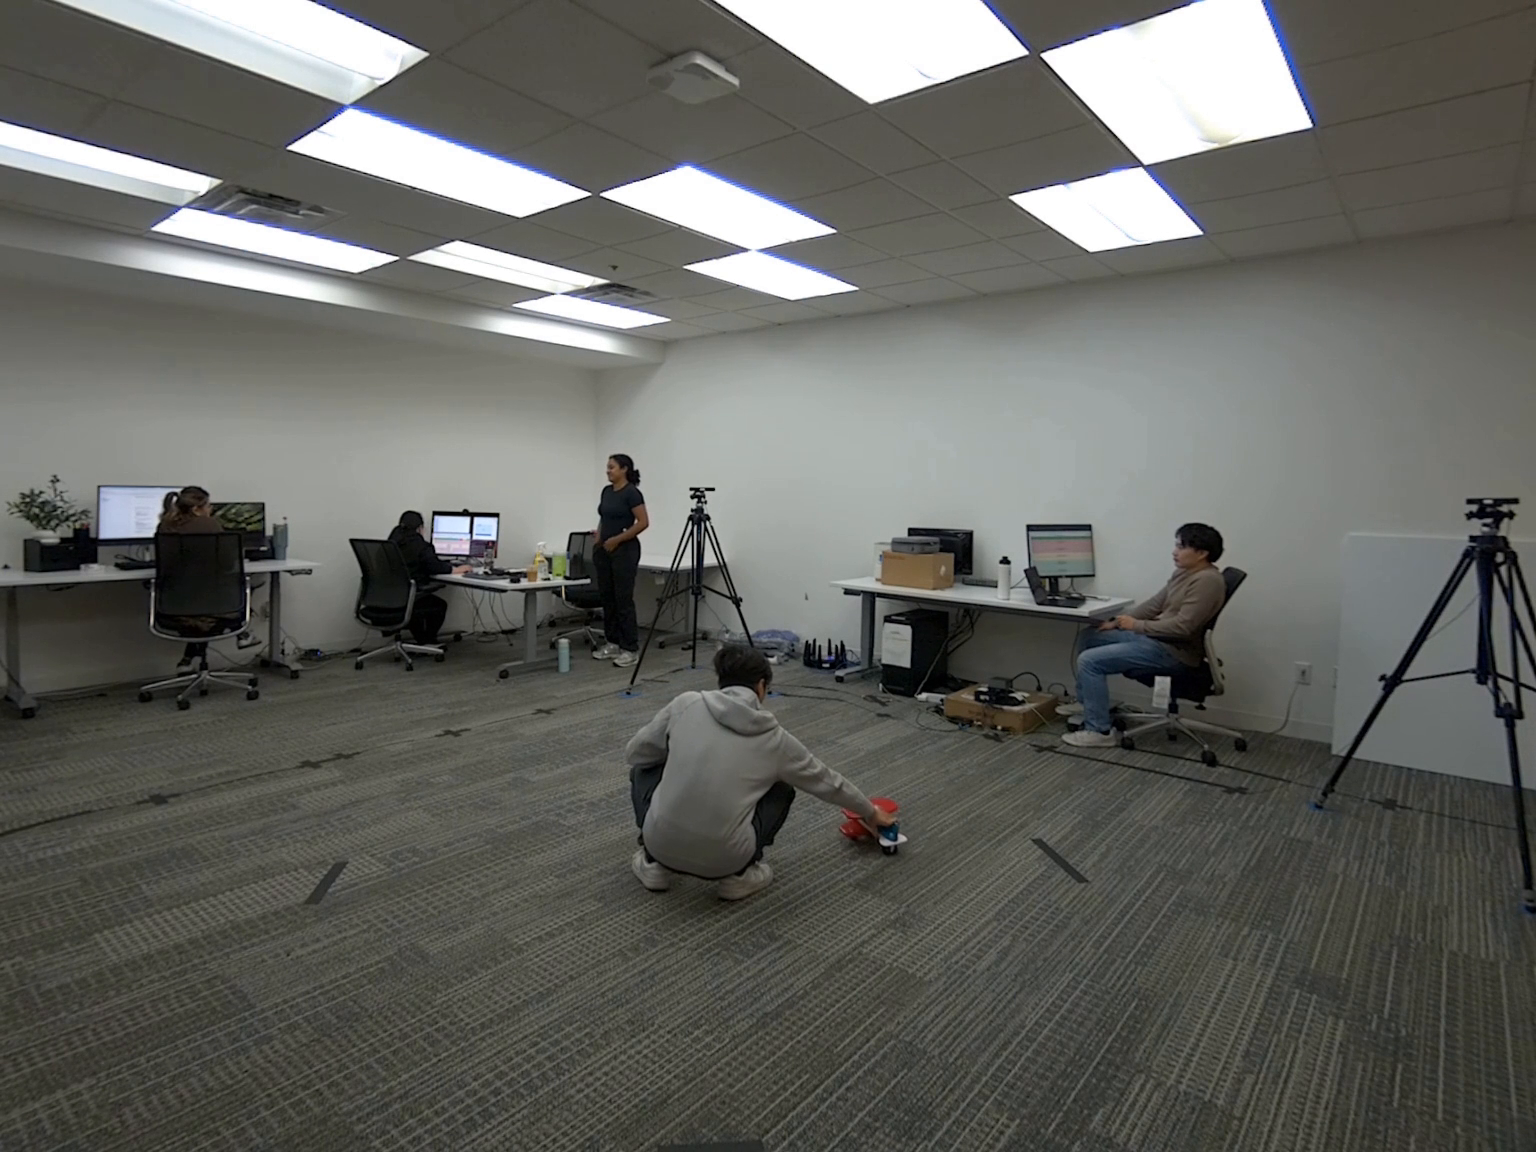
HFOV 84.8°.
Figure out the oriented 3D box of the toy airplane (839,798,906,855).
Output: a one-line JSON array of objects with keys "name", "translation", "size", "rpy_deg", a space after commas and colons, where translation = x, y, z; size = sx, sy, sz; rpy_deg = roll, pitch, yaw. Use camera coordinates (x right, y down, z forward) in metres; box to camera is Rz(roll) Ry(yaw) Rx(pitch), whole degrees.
[{"name": "toy airplane", "translation": [0.425, 0.985, 3.365], "size": [0.267, 0.156, 0.244], "rpy_deg": [4, 4, 32]}]
